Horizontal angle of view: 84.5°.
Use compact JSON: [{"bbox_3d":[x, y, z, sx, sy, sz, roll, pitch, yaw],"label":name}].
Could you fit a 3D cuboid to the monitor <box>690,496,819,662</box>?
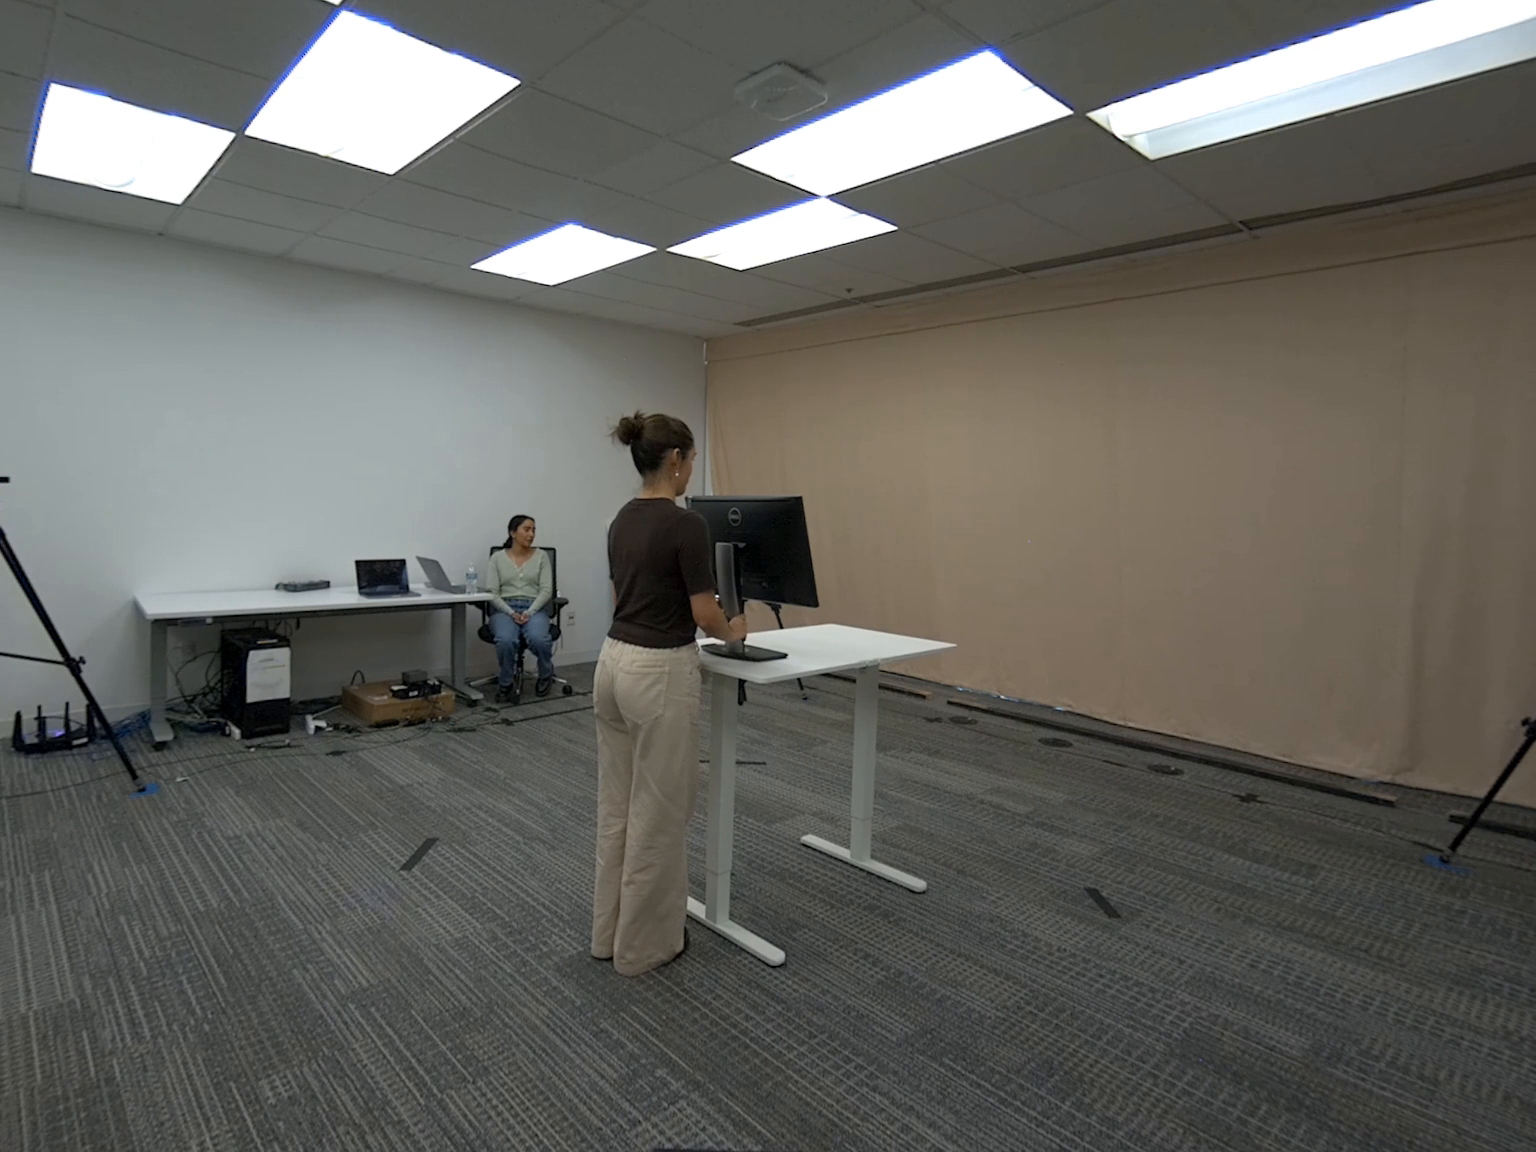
[{"bbox_3d":[-0.085,0.000,2.714,0.543,0.516,0.170,3,0,44],"label":"monitor"}]
